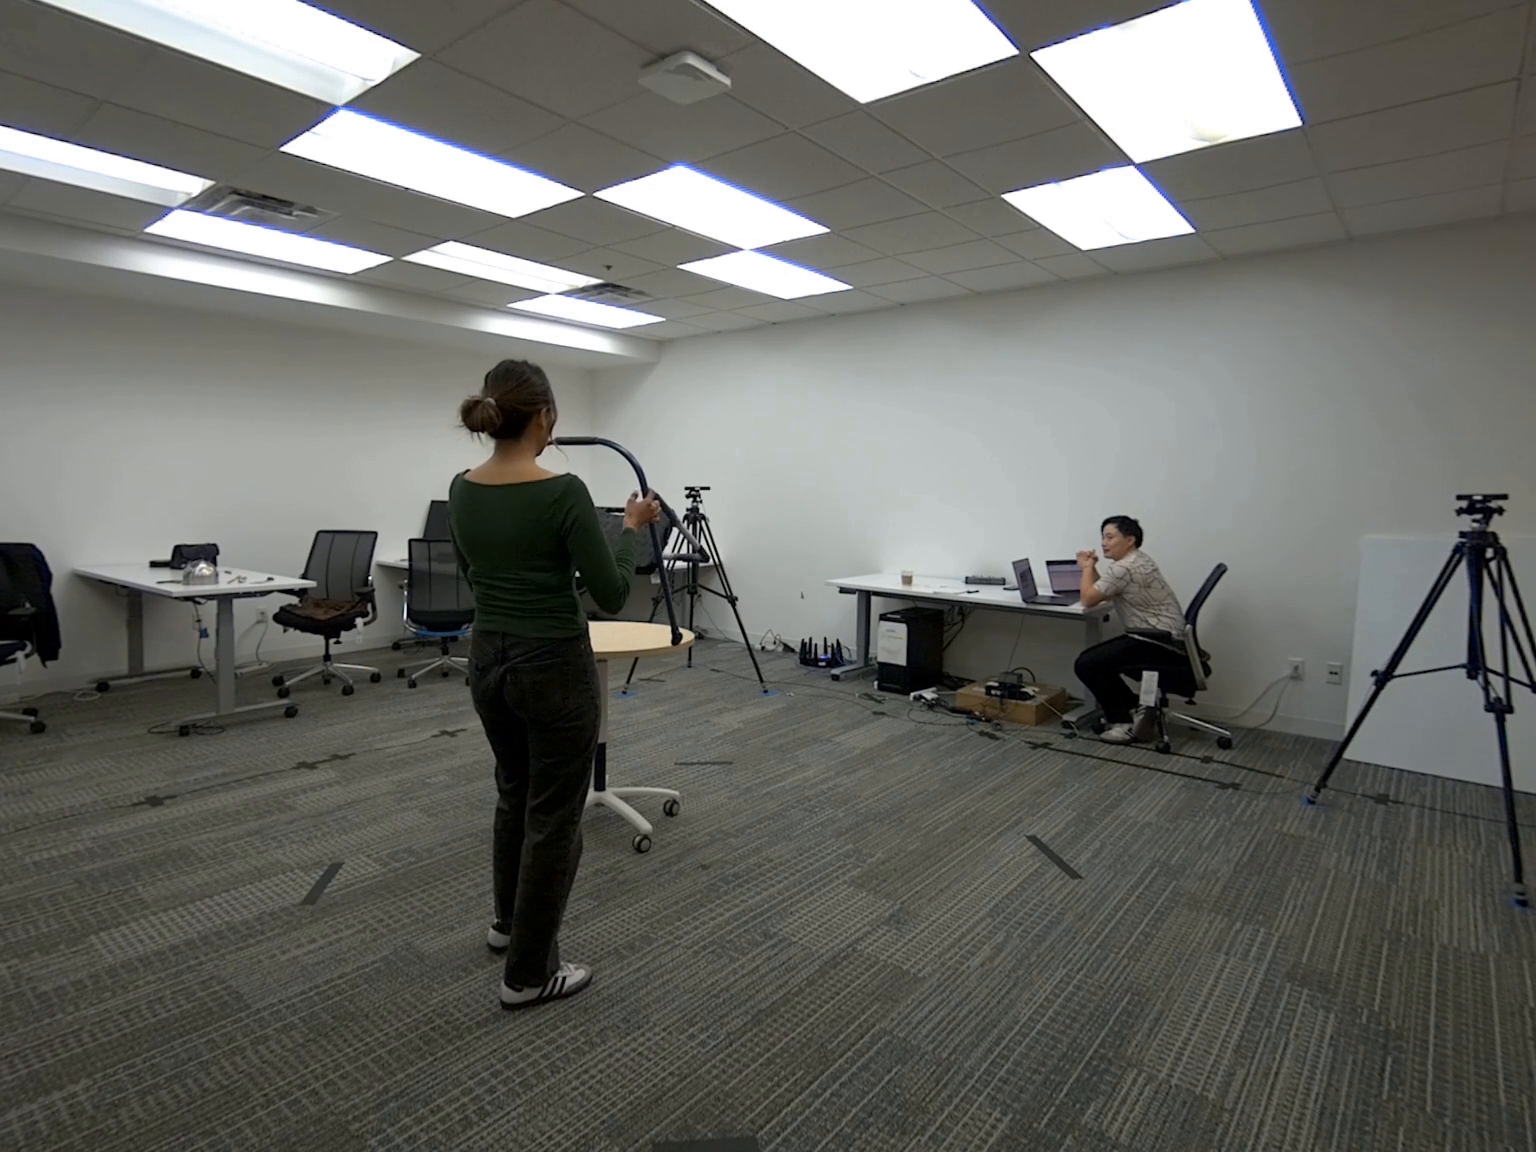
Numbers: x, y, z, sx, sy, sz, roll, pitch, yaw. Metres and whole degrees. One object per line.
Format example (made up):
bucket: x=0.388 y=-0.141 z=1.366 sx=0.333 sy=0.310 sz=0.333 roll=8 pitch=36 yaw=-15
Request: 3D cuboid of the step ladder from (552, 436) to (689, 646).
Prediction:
step ladder: x=-0.500 y=-0.135 z=2.549 sx=0.441 sy=0.354 sz=0.583 roll=3 pitch=-41 yaw=22
